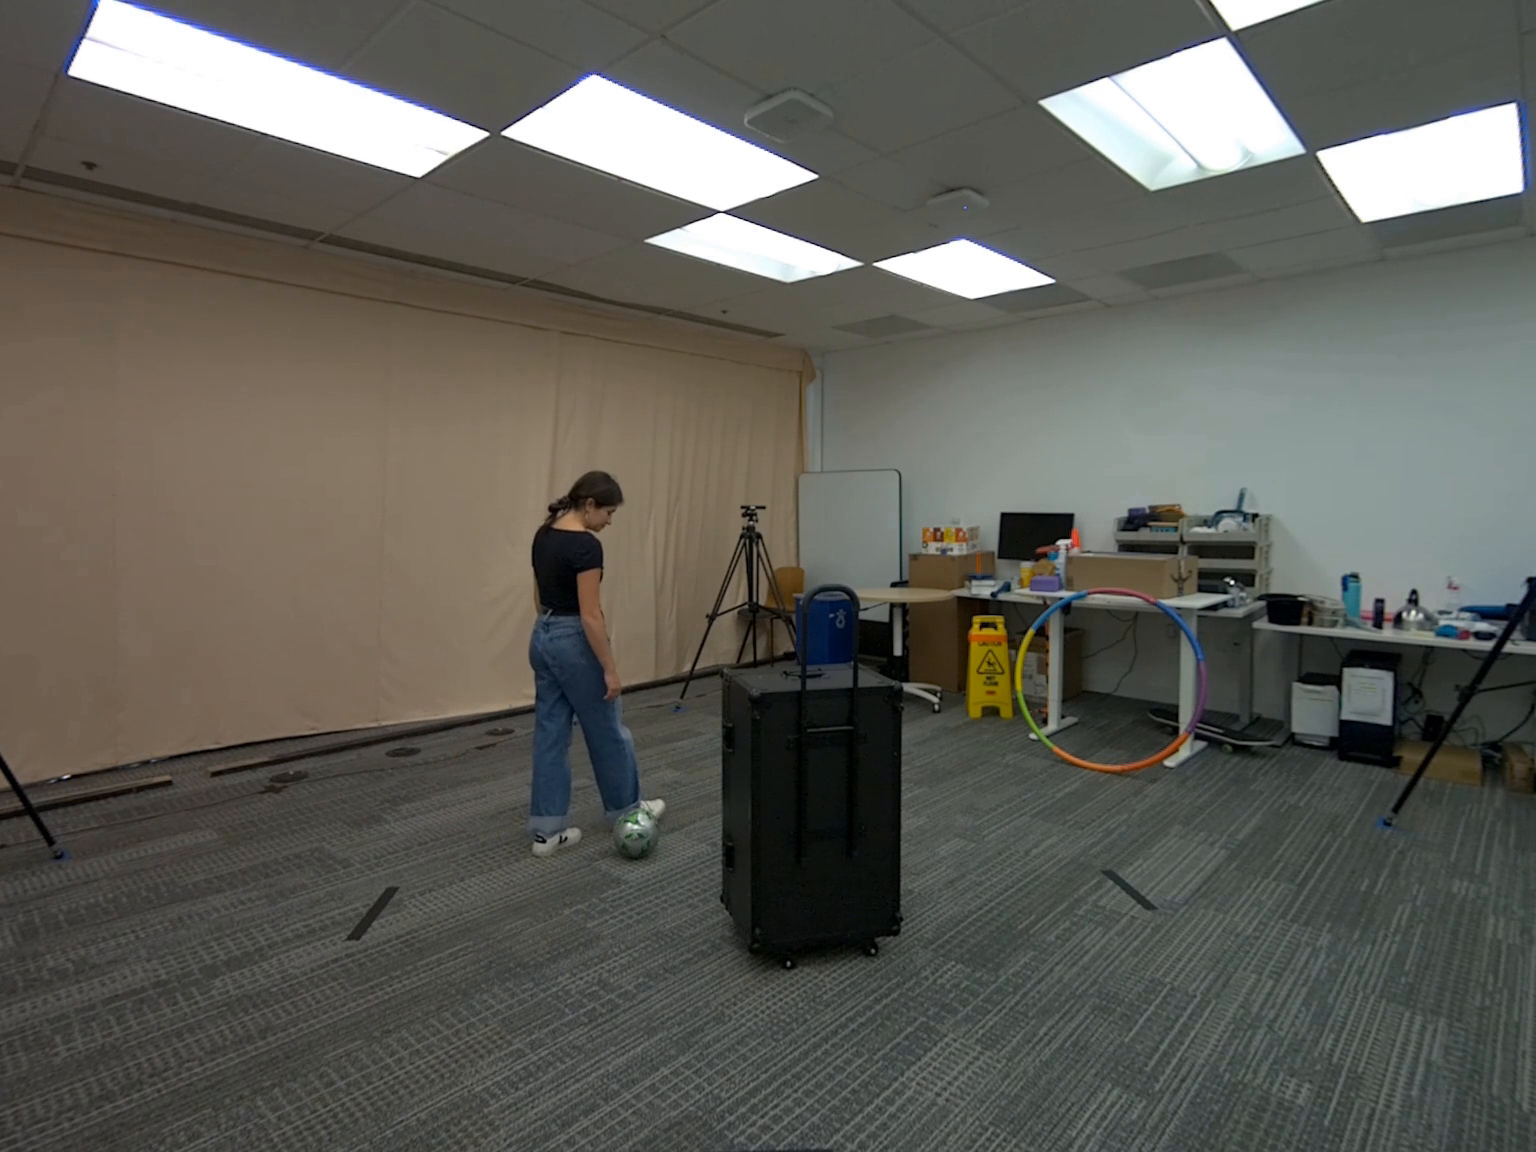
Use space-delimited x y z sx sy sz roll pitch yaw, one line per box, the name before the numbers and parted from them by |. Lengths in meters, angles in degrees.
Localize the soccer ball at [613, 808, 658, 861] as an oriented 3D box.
soccer ball | -0.519 1.025 3.352 0.187 0.187 0.188 0 4 -2
